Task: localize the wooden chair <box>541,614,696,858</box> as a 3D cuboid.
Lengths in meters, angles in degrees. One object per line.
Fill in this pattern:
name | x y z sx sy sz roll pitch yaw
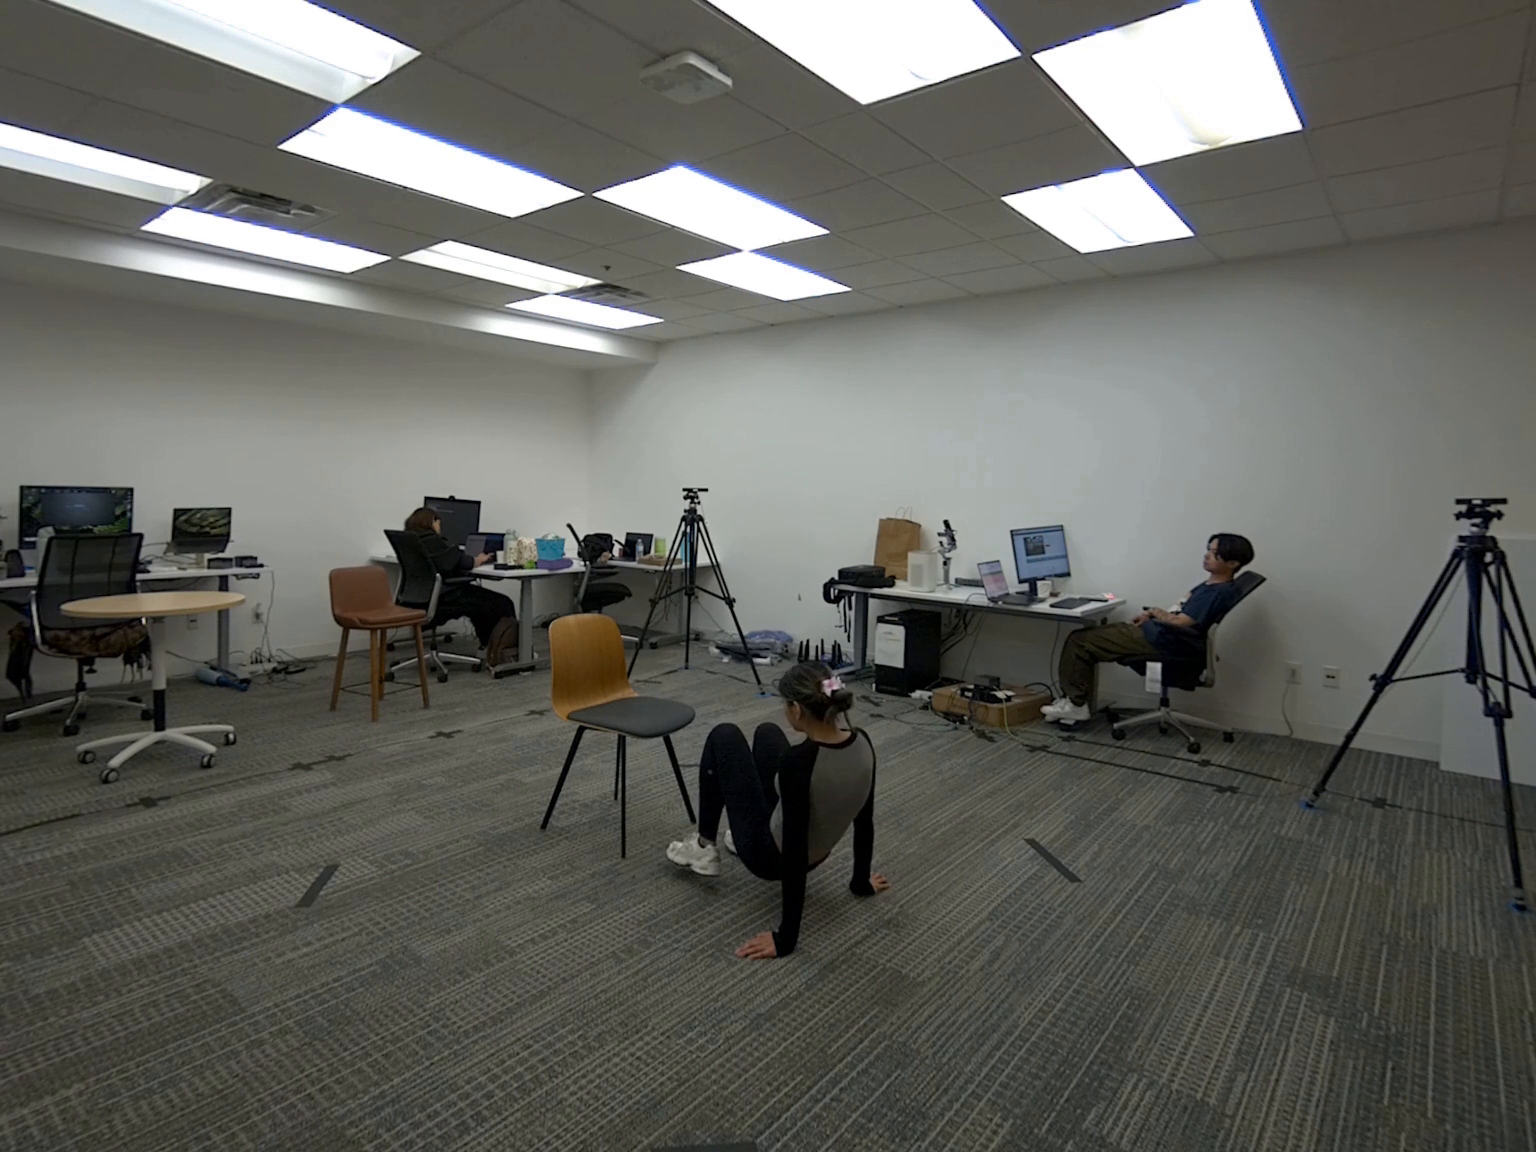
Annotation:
wooden chair | -0.606 0.600 3.465 0.538 0.877 0.464 -2 0 35
